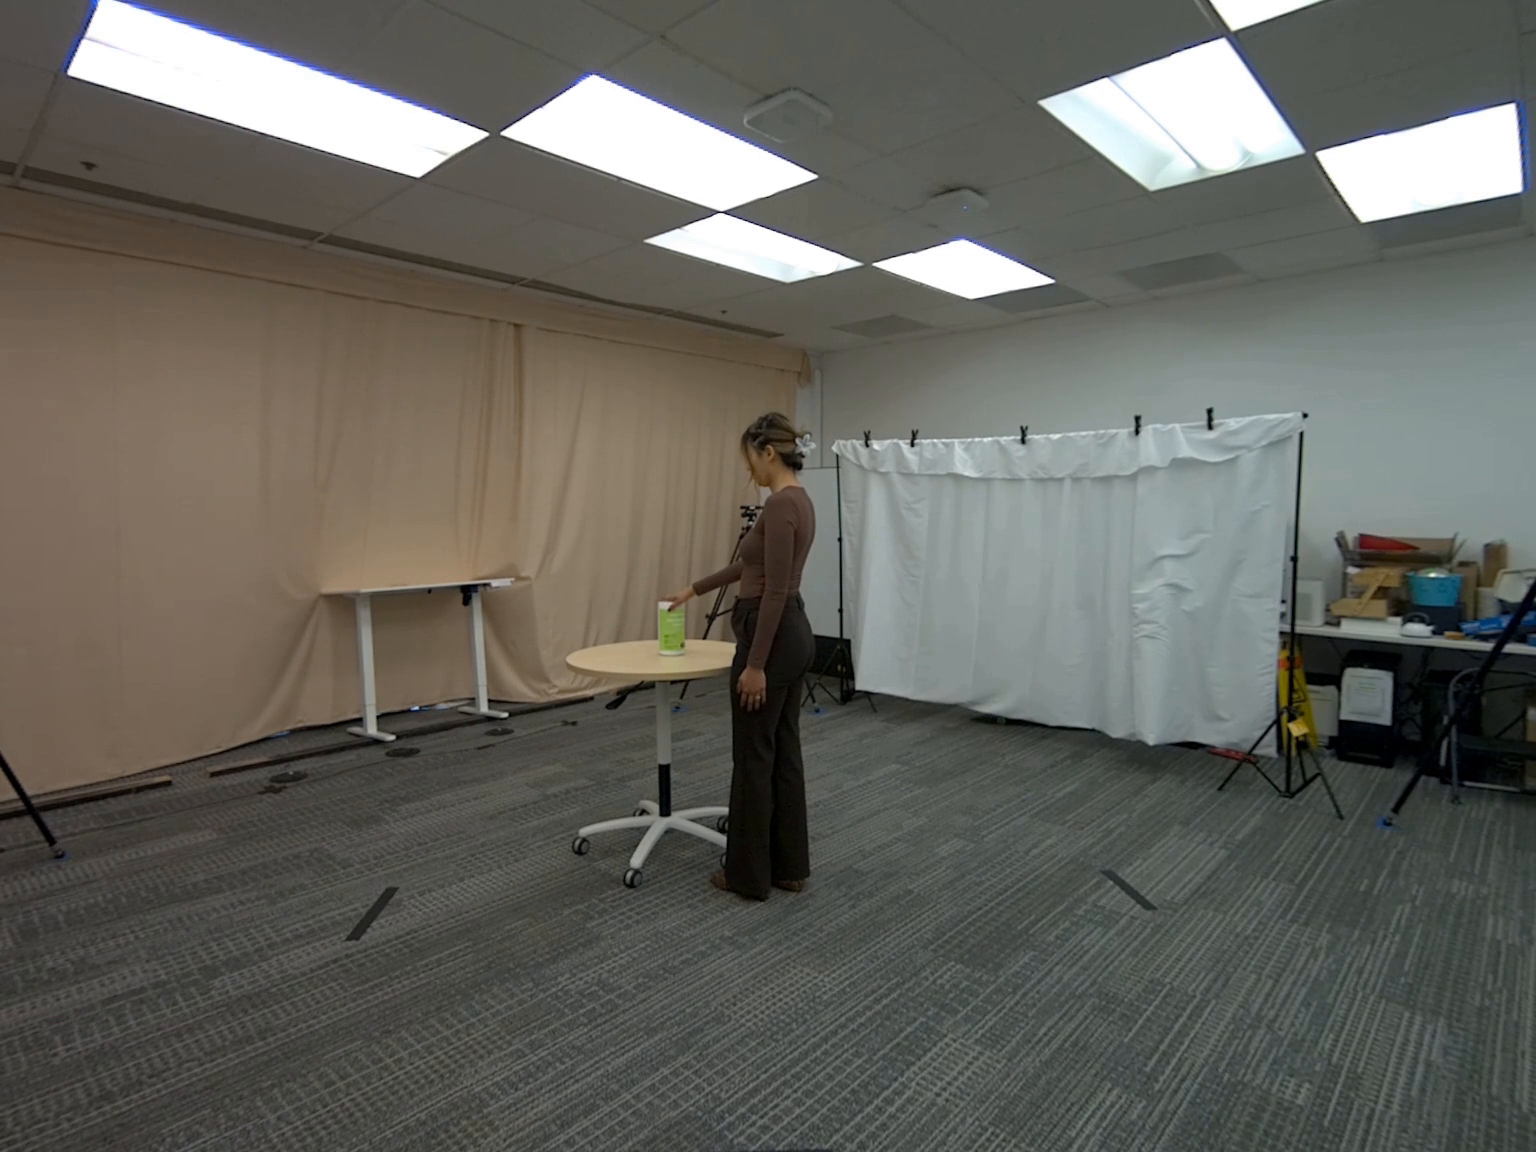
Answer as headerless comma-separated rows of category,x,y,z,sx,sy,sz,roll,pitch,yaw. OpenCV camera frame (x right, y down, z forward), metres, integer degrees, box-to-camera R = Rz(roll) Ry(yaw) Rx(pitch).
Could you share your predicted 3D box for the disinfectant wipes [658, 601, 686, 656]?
disinfectant wipes,-0.392,0.209,3.402,0.118,0.217,0.118,1,3,-2
